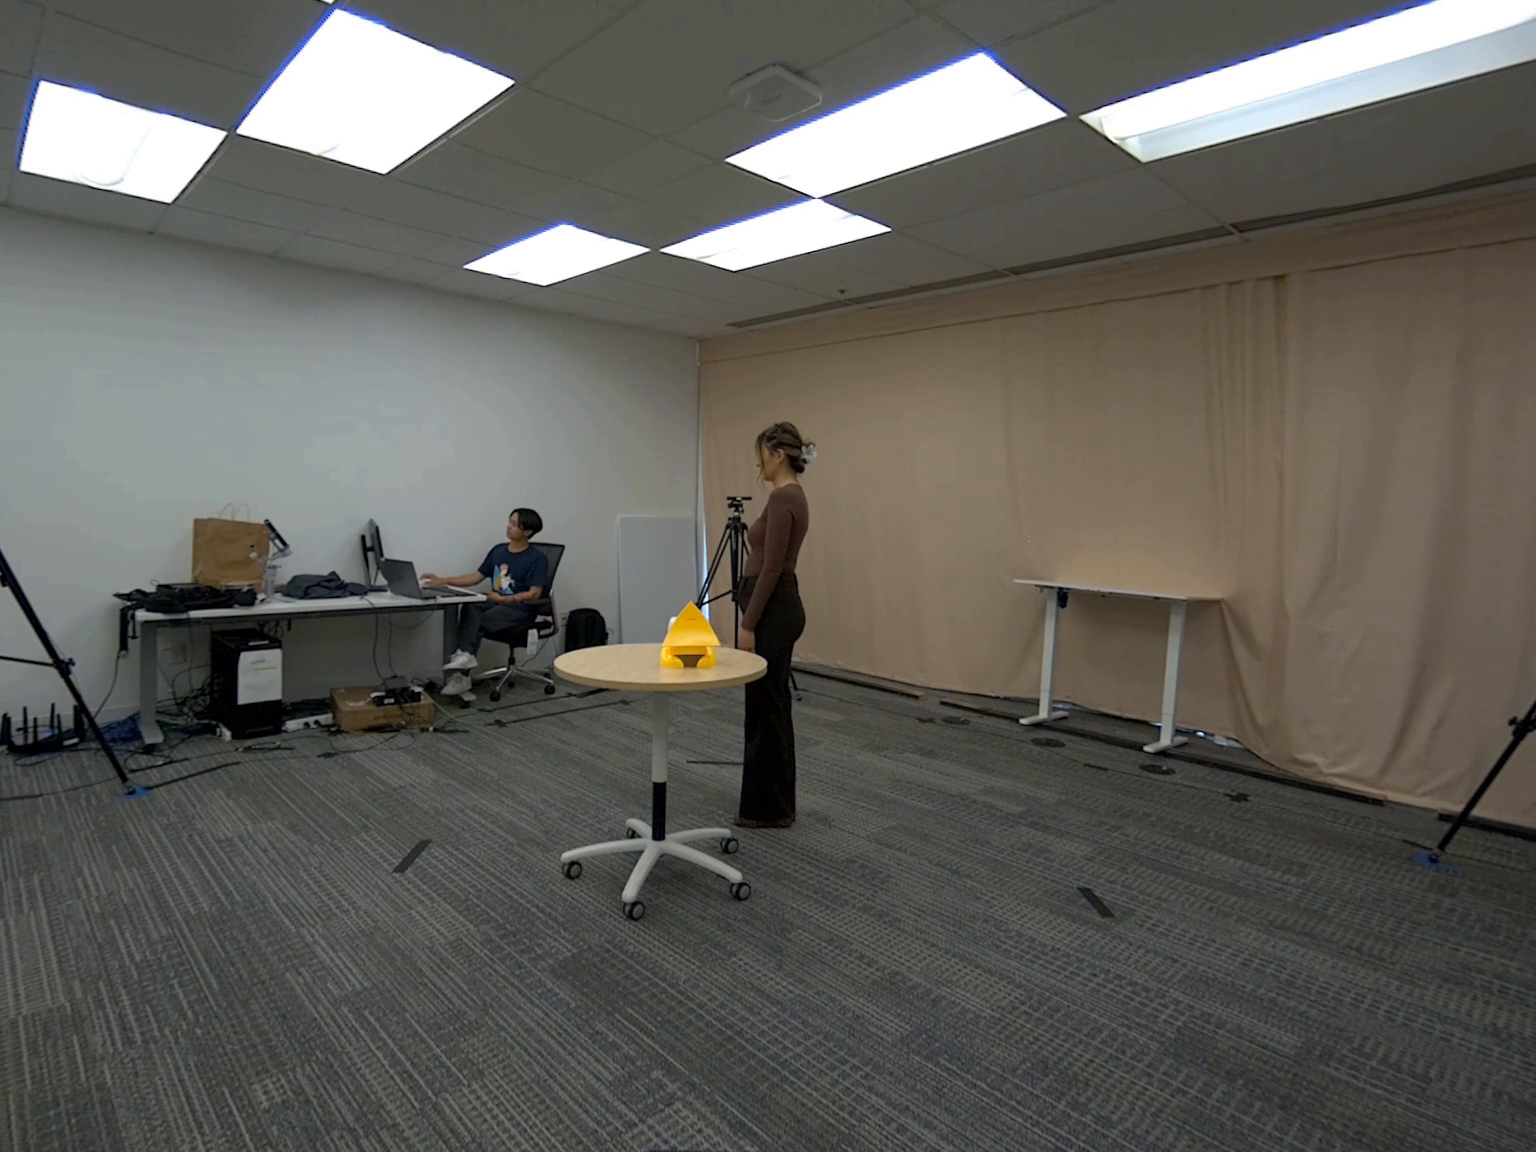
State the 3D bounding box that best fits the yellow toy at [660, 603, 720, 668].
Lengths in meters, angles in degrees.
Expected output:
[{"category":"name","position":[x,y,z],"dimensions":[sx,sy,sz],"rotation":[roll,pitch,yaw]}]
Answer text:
[{"category":"yellow toy","position":[-0.293,0.199,2.997],"dimensions":[0.203,0.230,0.195],"rotation":[0,4,-11]}]
